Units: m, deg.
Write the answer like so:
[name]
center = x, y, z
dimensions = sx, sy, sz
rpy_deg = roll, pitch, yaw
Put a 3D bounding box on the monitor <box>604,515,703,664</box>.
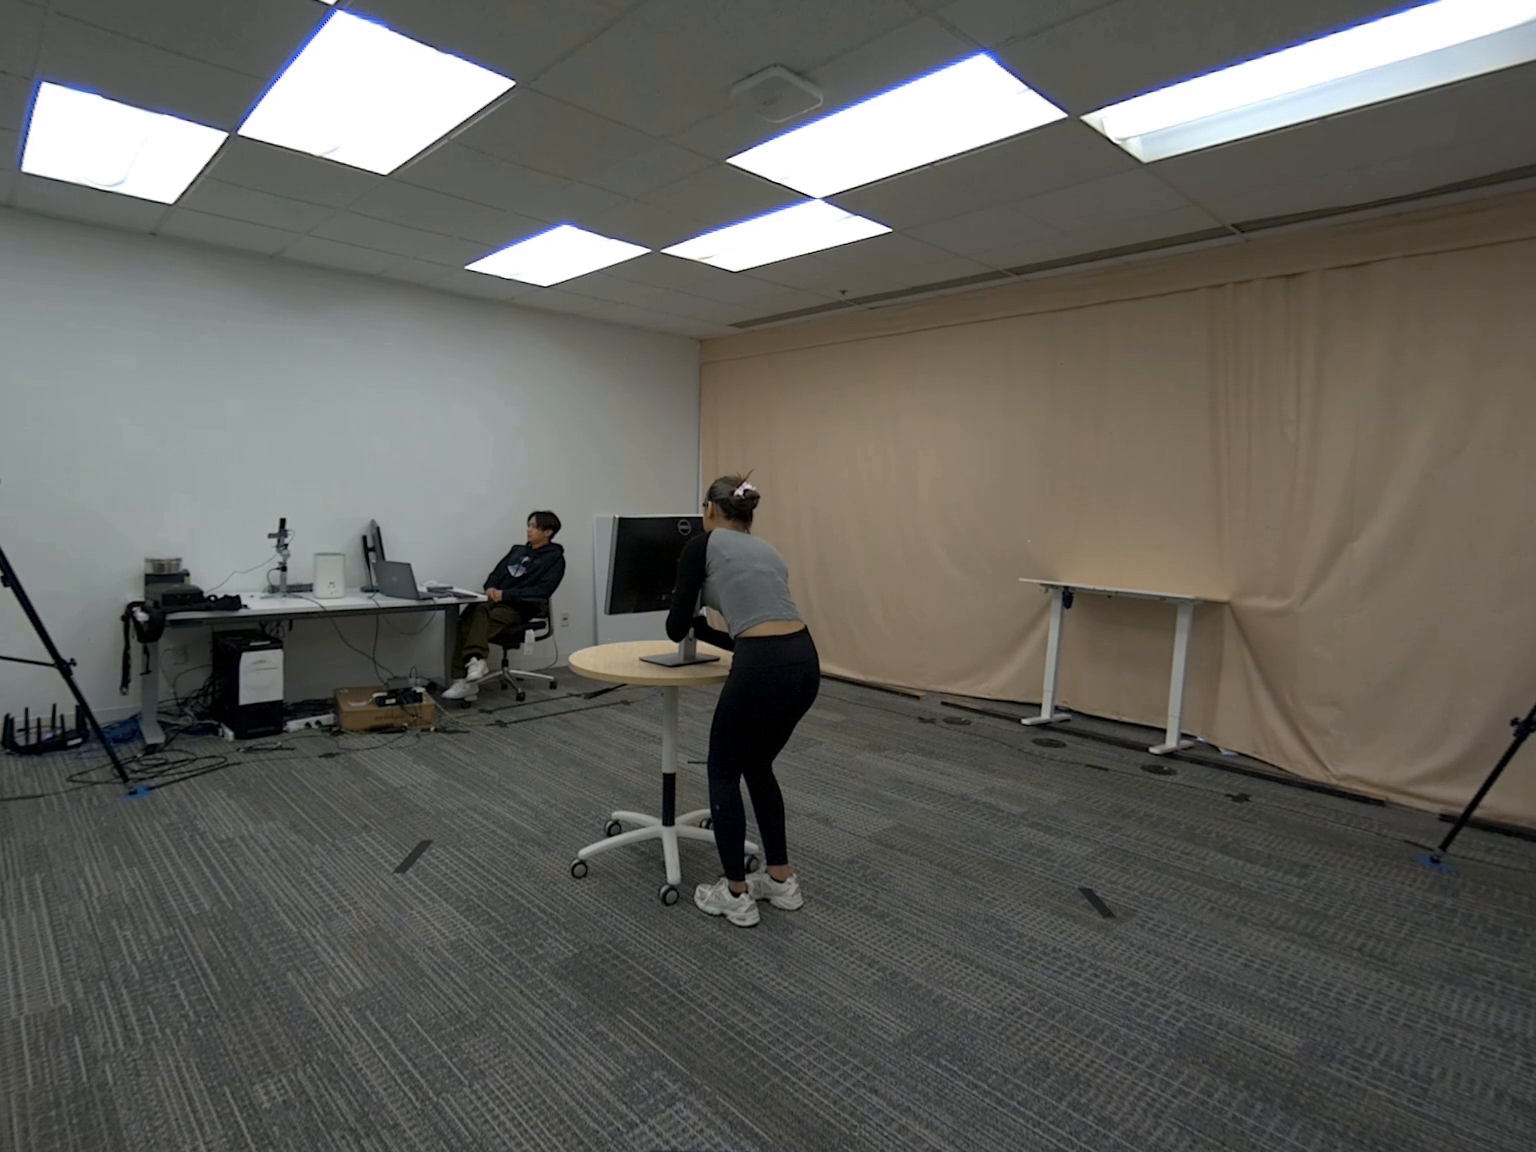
[monitor]
center = -0.330, 0.049, 3.113
dimensions = 0.527, 0.522, 0.191
rpy_deg = -3, 3, -43
